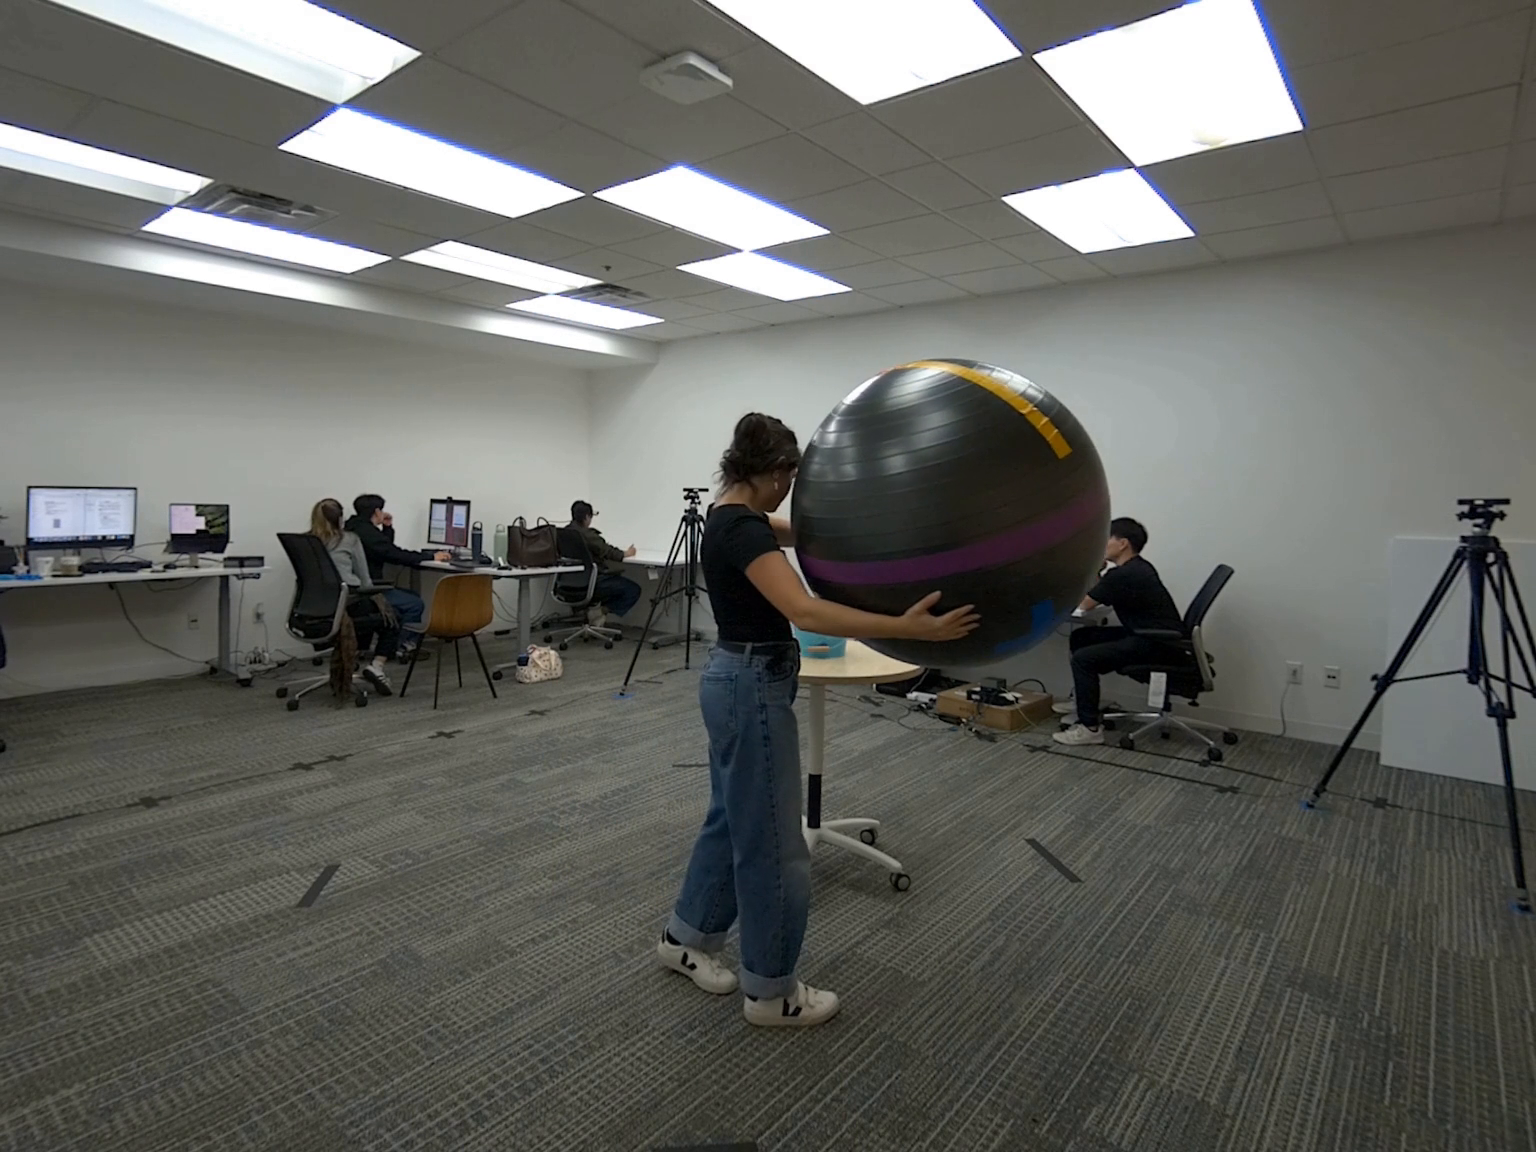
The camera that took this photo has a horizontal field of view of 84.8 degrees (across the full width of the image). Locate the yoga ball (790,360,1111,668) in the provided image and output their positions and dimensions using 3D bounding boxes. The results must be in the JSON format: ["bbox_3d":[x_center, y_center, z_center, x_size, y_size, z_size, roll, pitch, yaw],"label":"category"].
[{"bbox_3d":[0.435,-0.150,2.110,0.757,0.755,0.762,1,4,-2],"label":"yoga ball"}]
